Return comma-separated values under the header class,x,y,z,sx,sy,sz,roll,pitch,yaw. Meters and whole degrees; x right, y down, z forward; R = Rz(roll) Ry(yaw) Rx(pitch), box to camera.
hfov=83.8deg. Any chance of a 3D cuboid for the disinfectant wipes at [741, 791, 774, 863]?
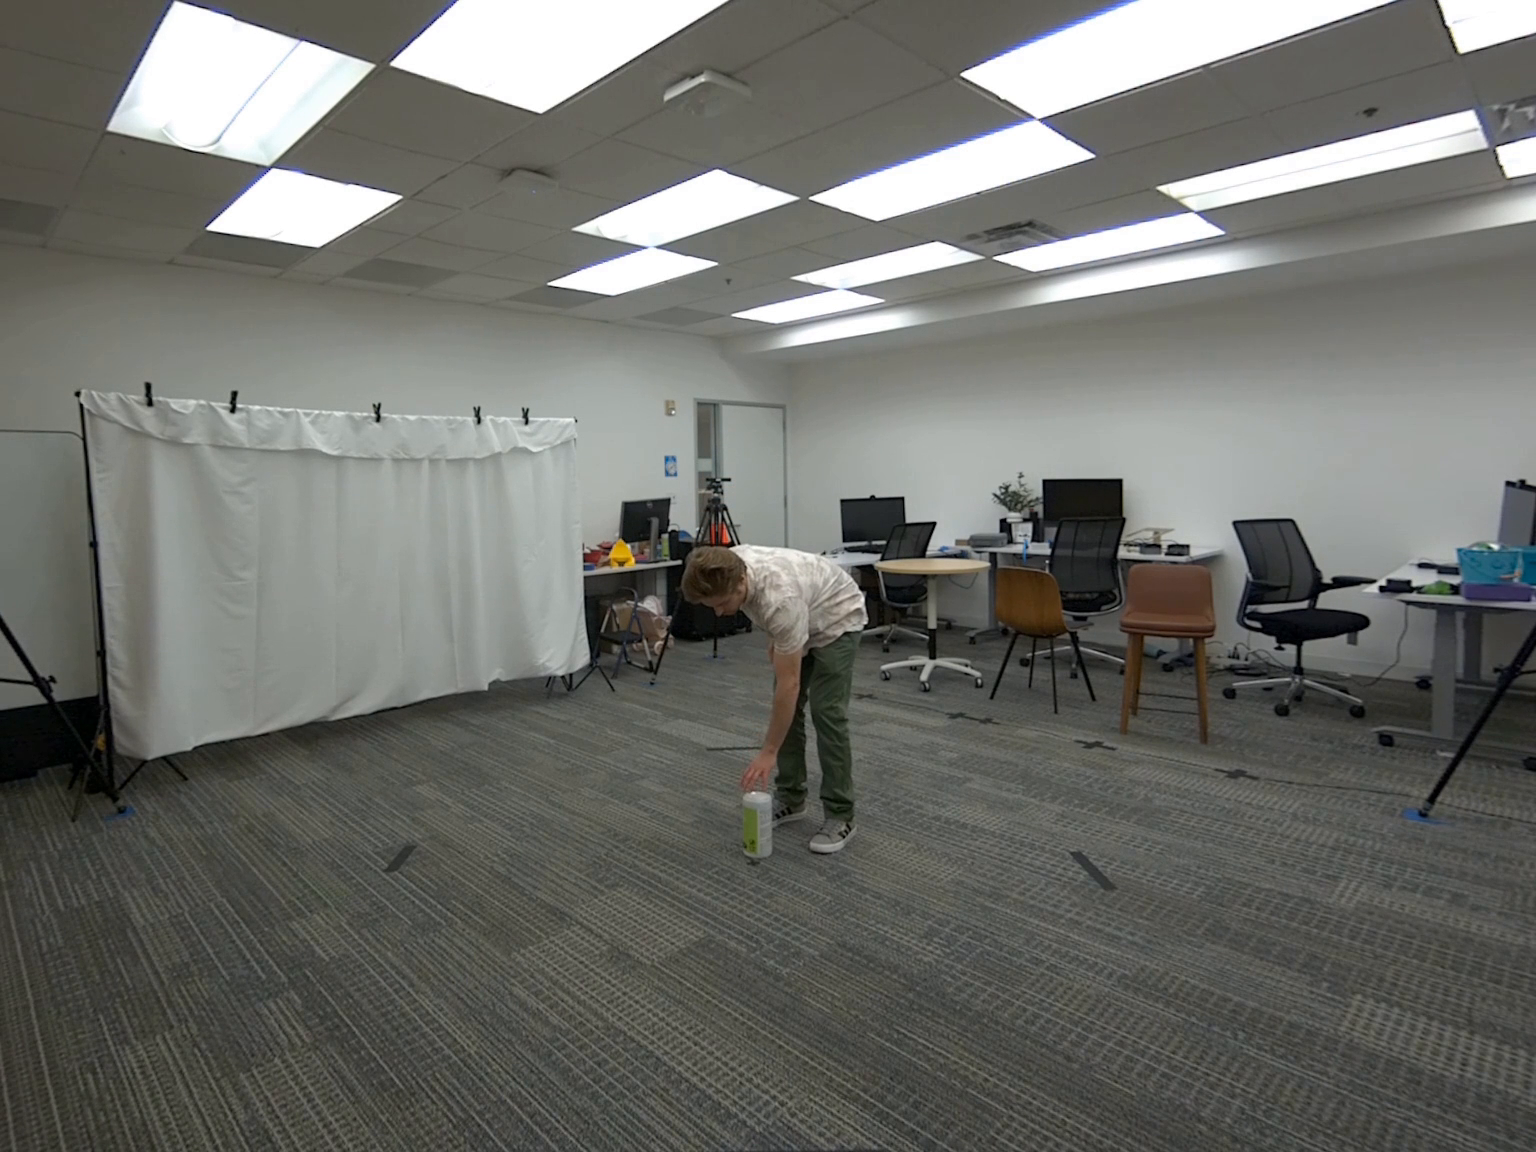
class,x,y,z,sx,sy,sz,roll,pitch,yaw
disinfectant wipes,-0.035,0.930,3.183,0.118,0.216,0.118,0,5,-2
